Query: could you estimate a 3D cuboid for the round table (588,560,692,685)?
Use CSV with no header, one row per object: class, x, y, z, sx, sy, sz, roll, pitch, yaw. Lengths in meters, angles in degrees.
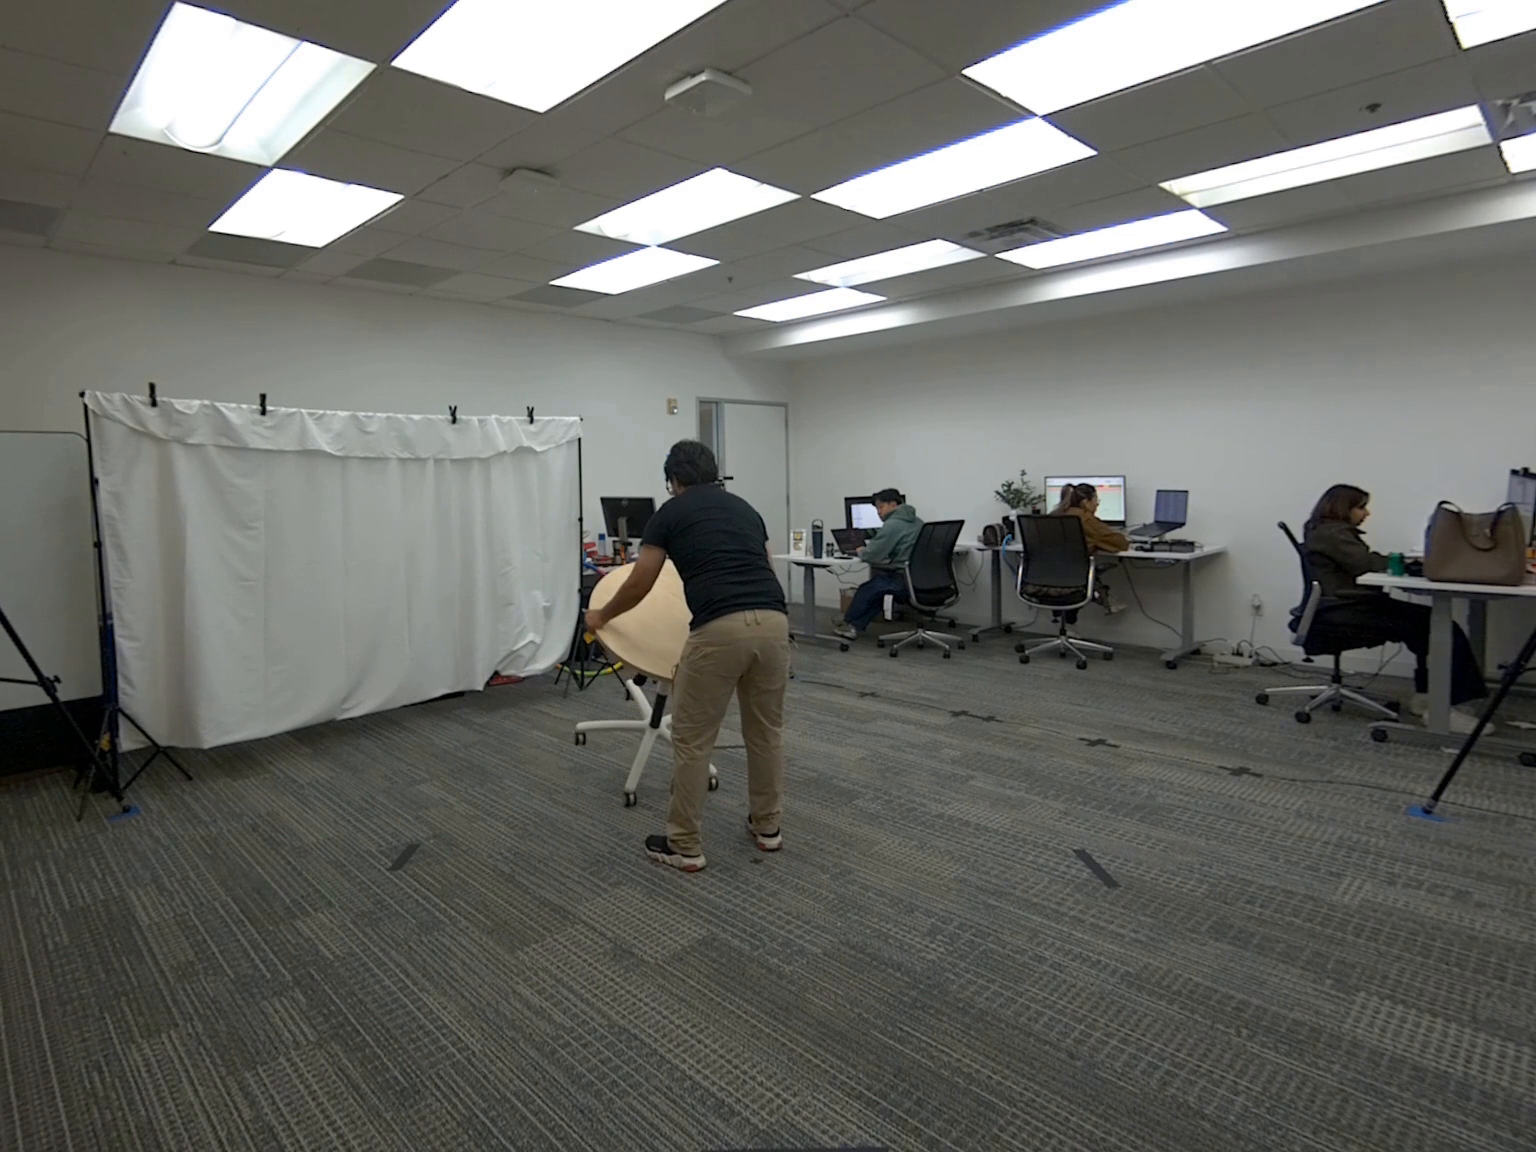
round table,-0.439,0.477,3.771,0.779,0.773,0.805,10,33,-8
